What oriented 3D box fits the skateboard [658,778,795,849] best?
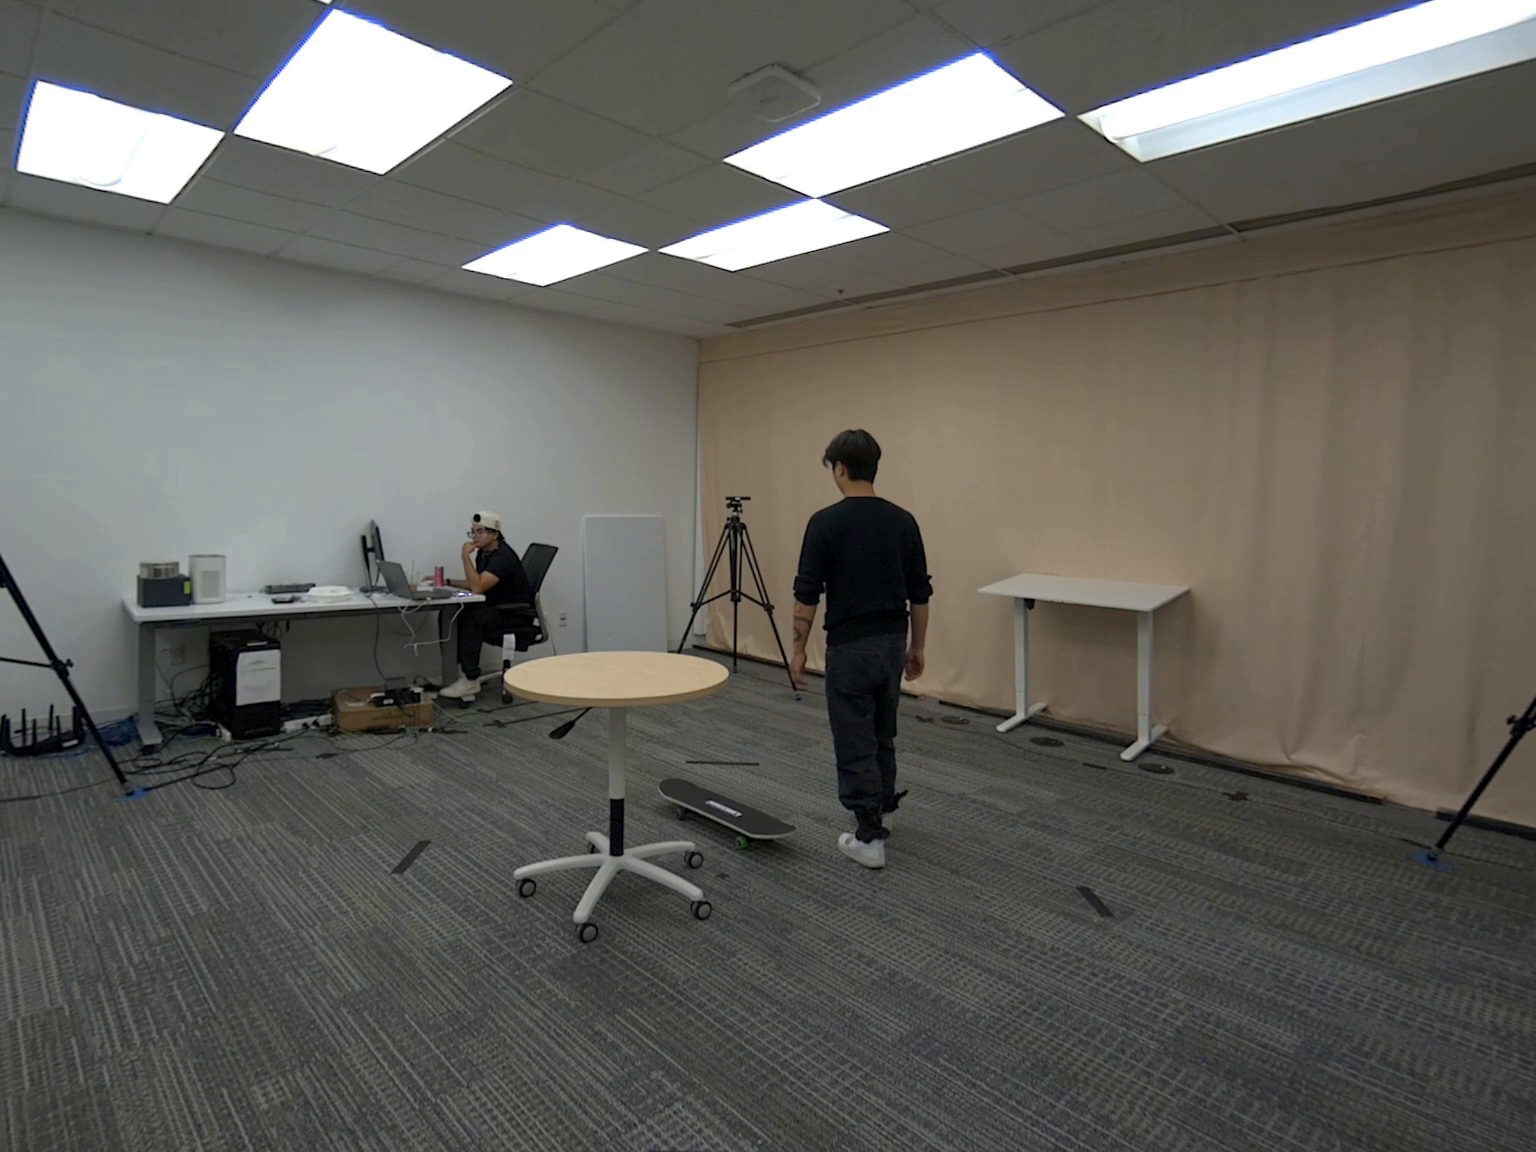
[{"bbox_3d":[-0.192,1.010,3.551,0.189,0.110,0.806,-2,6,-42],"label":"skateboard"}]
